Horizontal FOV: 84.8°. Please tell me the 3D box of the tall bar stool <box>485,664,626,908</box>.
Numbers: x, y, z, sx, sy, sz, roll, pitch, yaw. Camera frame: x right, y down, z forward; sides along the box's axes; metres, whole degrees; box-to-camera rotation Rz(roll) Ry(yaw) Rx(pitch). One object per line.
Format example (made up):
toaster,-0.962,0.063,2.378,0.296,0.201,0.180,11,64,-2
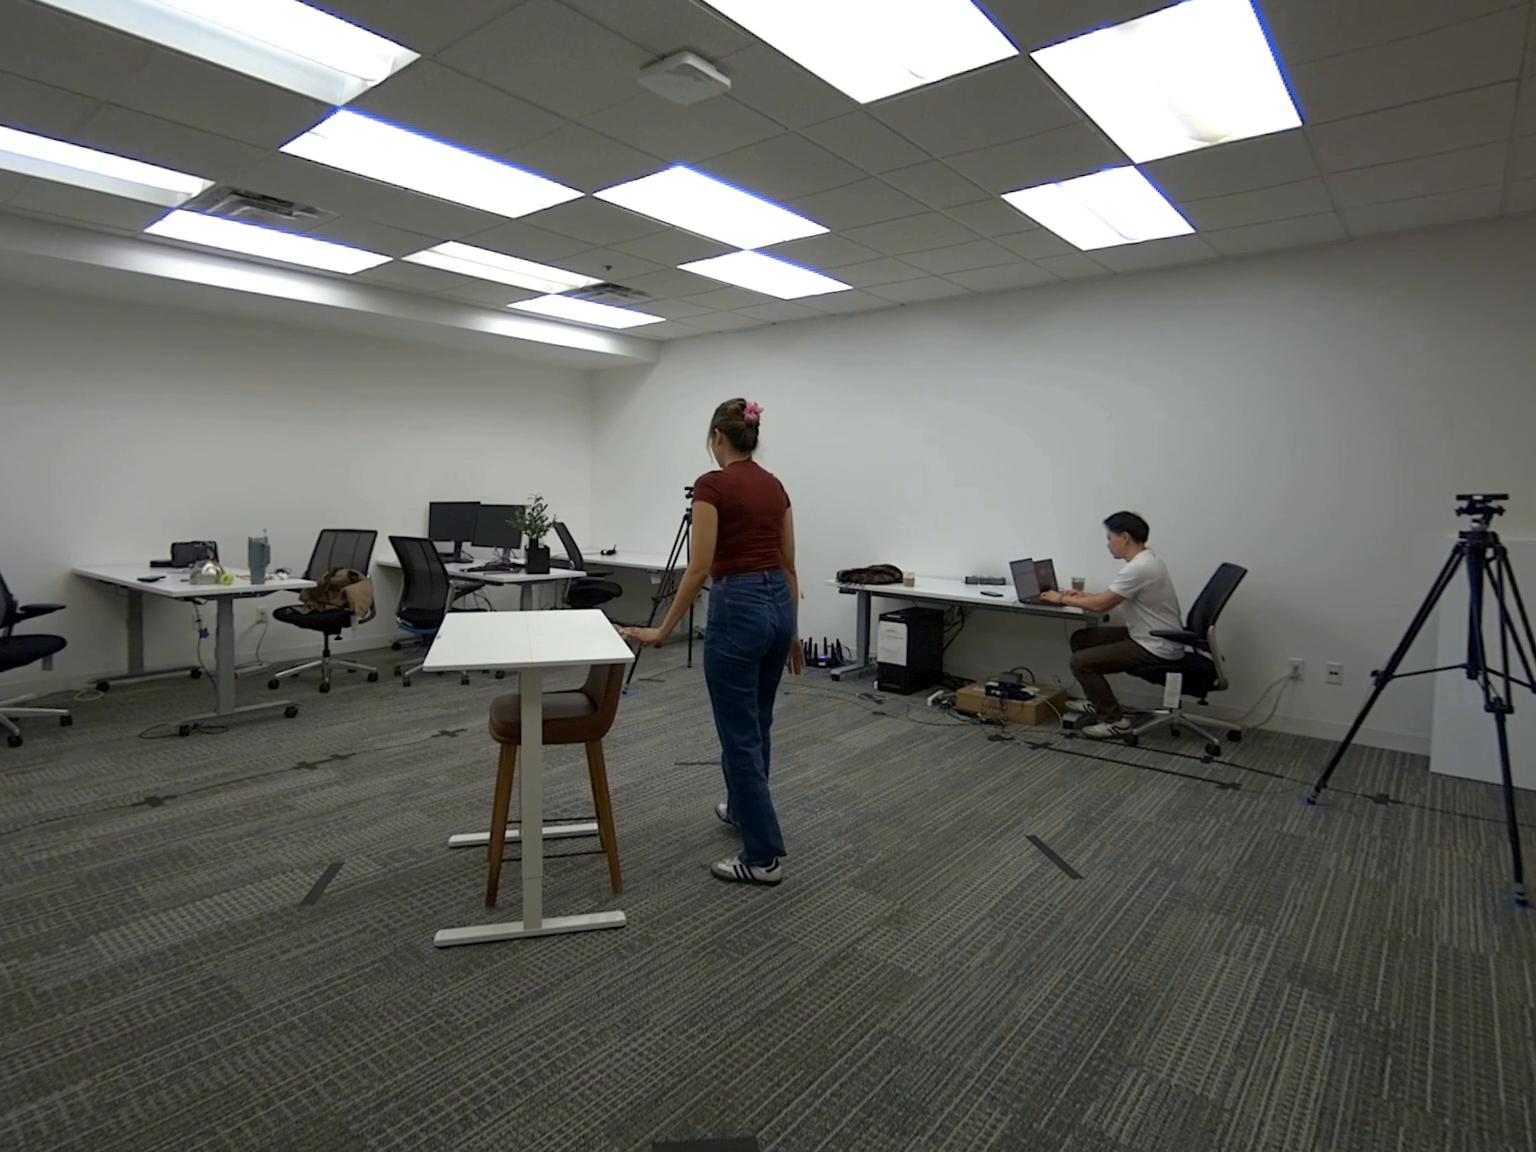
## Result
tall bar stool,-0.760,0.638,3.021,0.461,0.889,0.464,2,1,-14
